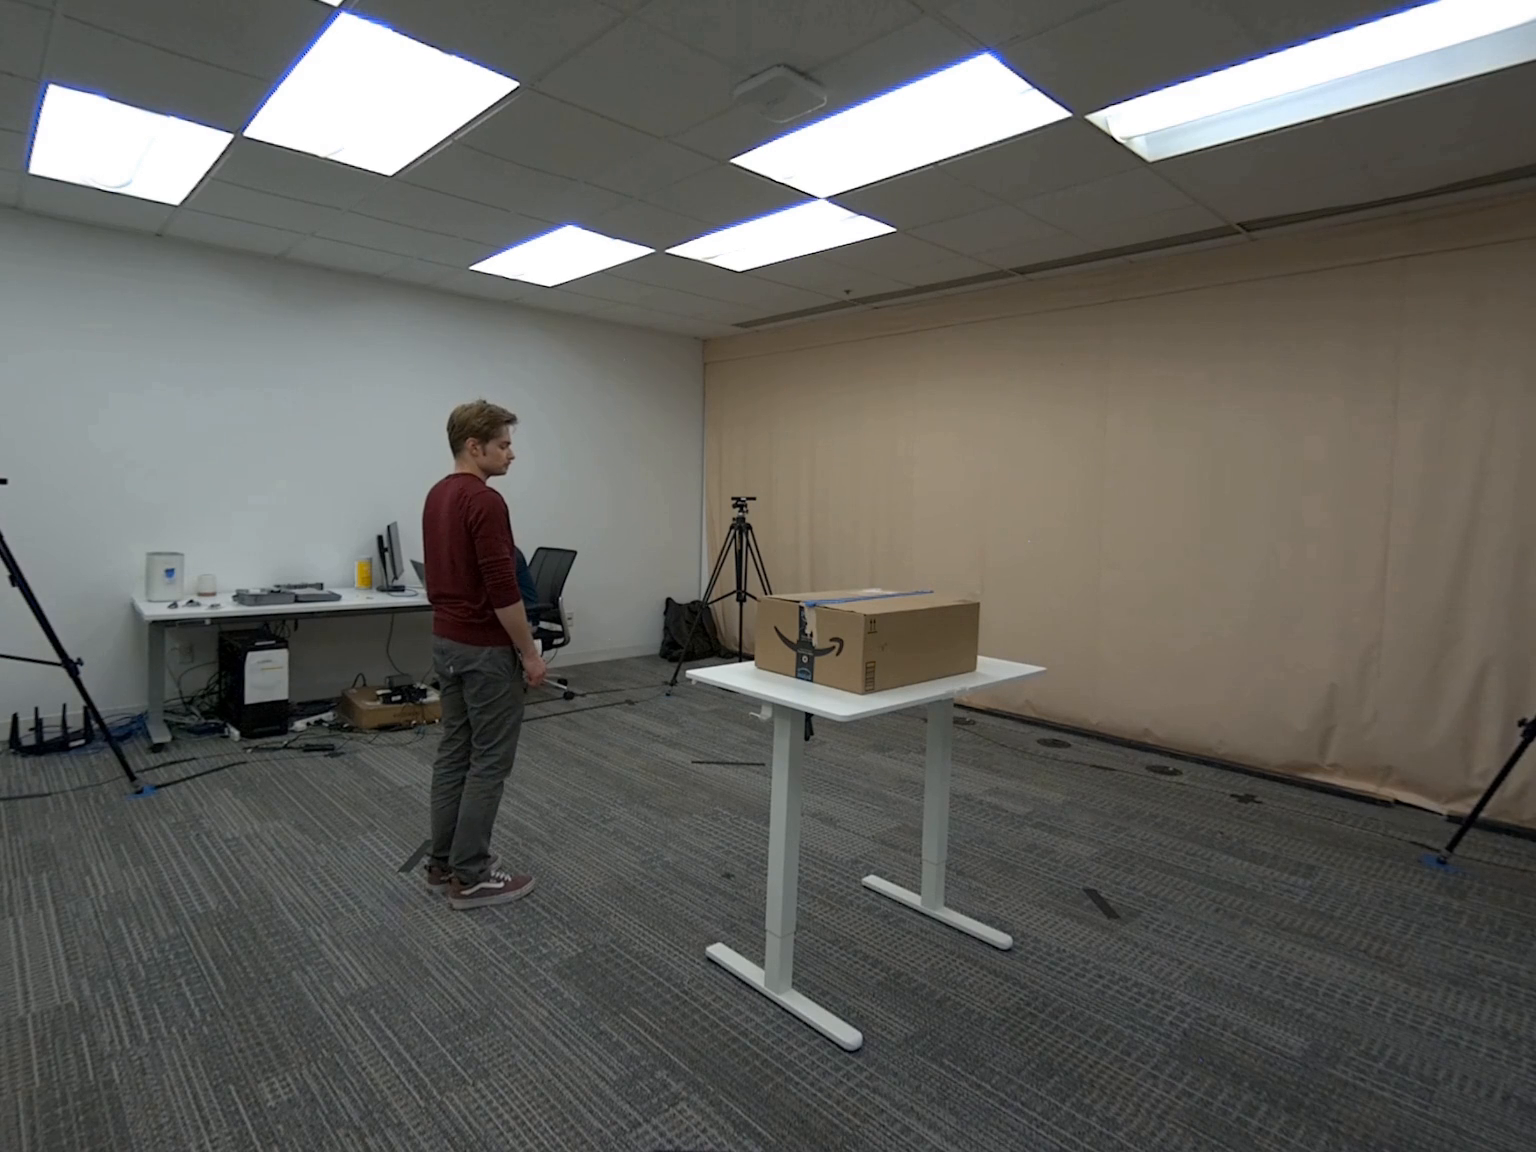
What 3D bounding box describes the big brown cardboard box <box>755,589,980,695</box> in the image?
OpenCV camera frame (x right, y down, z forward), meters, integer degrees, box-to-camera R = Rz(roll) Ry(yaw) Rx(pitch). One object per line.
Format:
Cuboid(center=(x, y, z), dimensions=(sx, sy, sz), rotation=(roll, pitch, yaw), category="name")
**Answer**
Cuboid(center=(0.304, 0.176, 2.549), dimensions=(0.576, 0.232, 0.428), rotation=(-4, 8, -44), category="big brown cardboard box")
